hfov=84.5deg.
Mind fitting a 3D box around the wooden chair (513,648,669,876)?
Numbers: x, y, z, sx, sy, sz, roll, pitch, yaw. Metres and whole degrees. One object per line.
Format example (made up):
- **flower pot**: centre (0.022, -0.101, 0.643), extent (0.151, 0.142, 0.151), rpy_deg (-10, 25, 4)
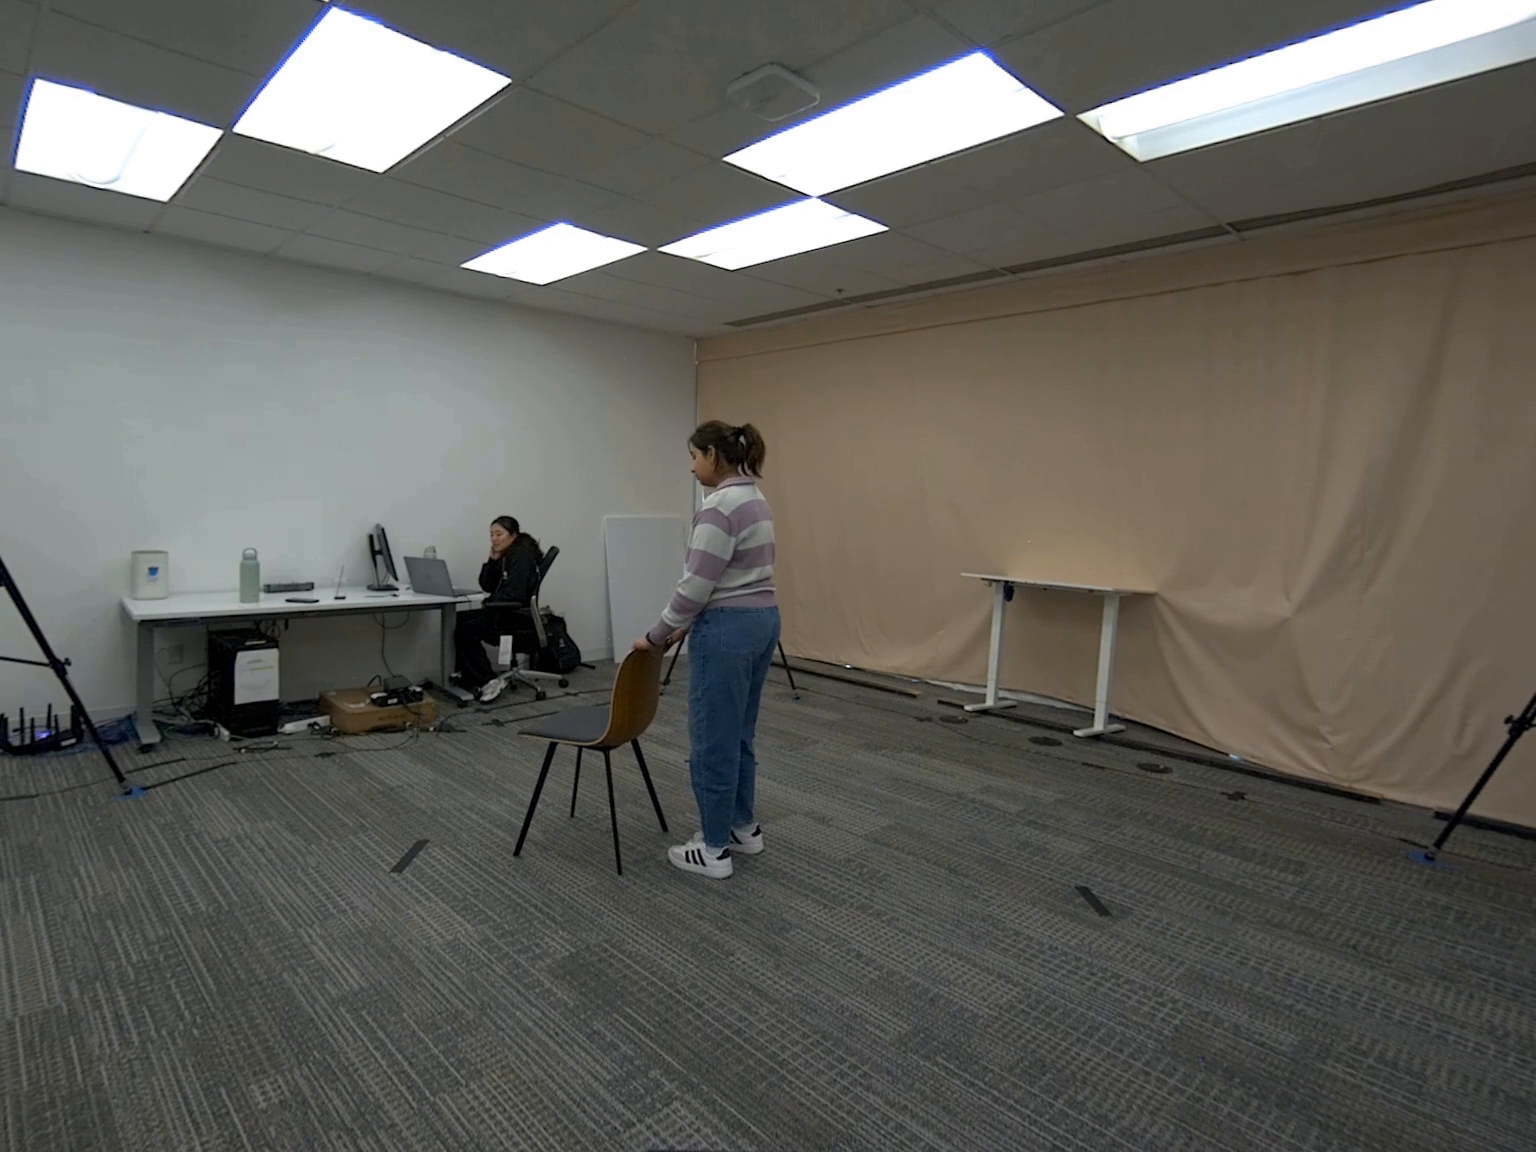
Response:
- **wooden chair**: centre (-0.693, 0.635, 3.322), extent (0.531, 0.874, 0.472), rpy_deg (7, 5, 17)
